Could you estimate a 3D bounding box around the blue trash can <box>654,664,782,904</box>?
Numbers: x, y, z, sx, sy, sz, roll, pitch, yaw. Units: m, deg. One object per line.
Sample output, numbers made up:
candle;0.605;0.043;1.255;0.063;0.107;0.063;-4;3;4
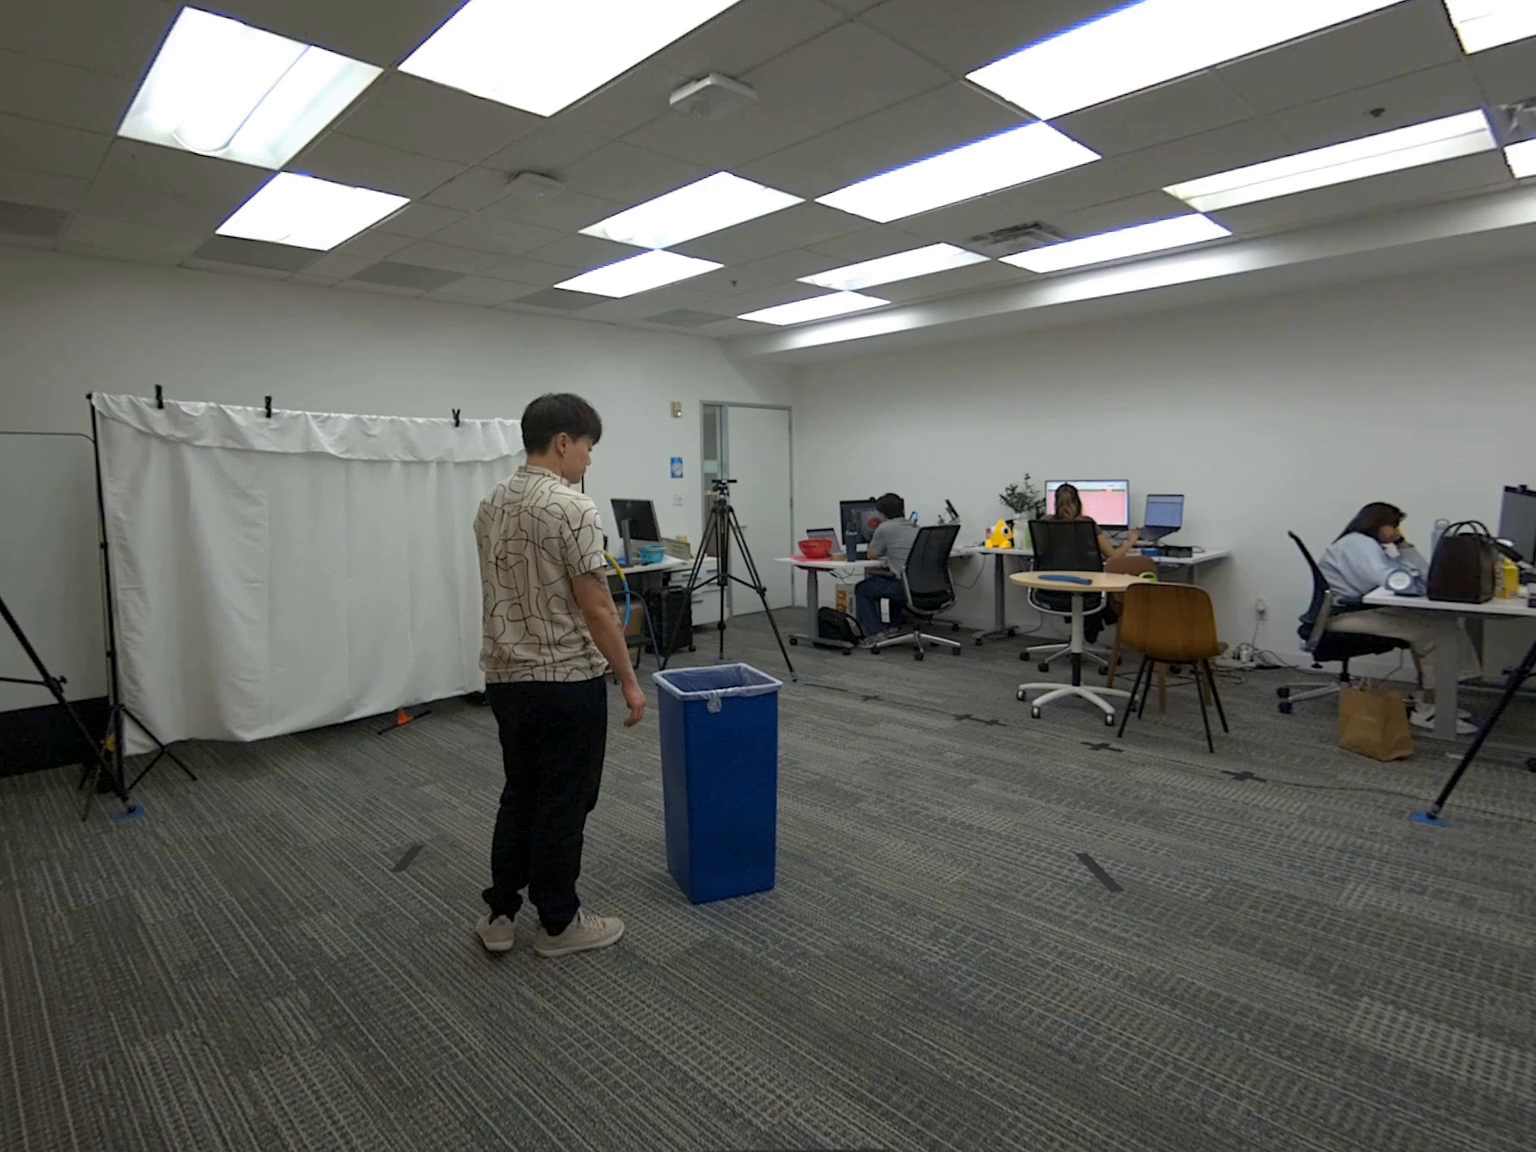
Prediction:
blue trash can;-0.170;0.705;2.988;0.367;0.711;0.387;-3;4;-24
